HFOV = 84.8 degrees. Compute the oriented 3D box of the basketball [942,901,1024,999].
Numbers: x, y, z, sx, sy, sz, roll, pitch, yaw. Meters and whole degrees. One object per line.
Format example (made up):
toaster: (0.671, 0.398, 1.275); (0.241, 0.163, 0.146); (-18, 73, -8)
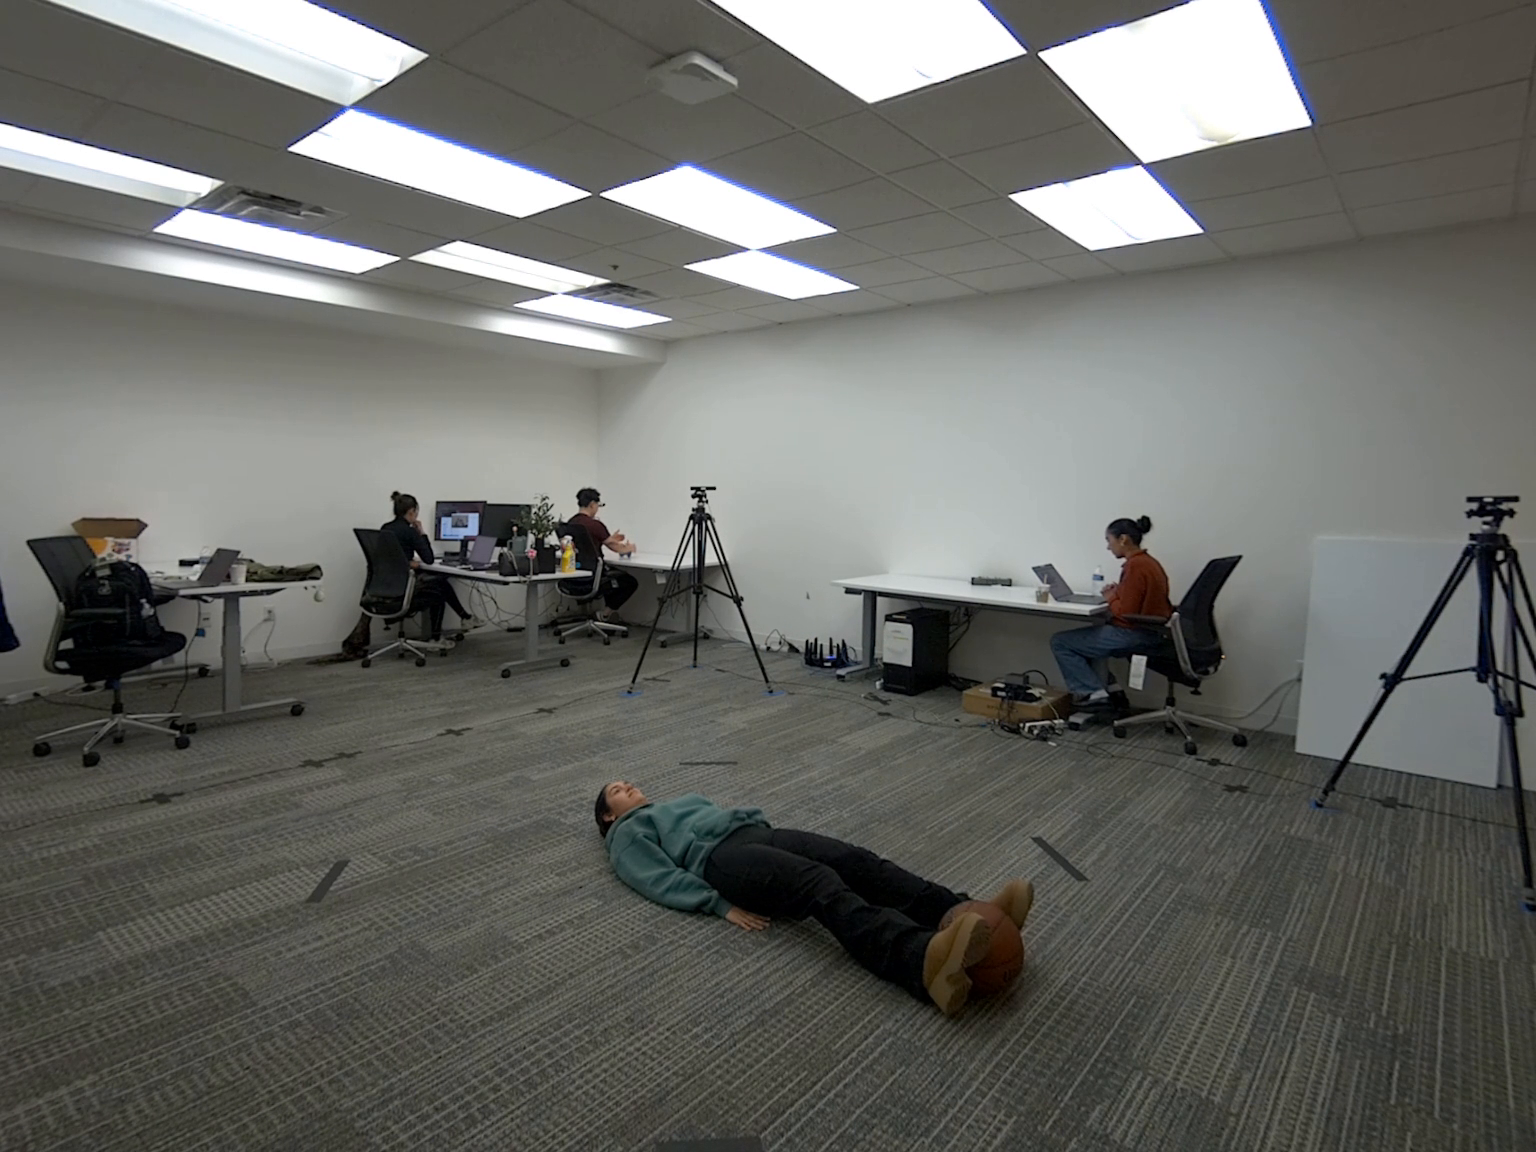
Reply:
basketball: (0.586, 1.040, 2.392); (0.236, 0.235, 0.237); (0, 4, -2)
